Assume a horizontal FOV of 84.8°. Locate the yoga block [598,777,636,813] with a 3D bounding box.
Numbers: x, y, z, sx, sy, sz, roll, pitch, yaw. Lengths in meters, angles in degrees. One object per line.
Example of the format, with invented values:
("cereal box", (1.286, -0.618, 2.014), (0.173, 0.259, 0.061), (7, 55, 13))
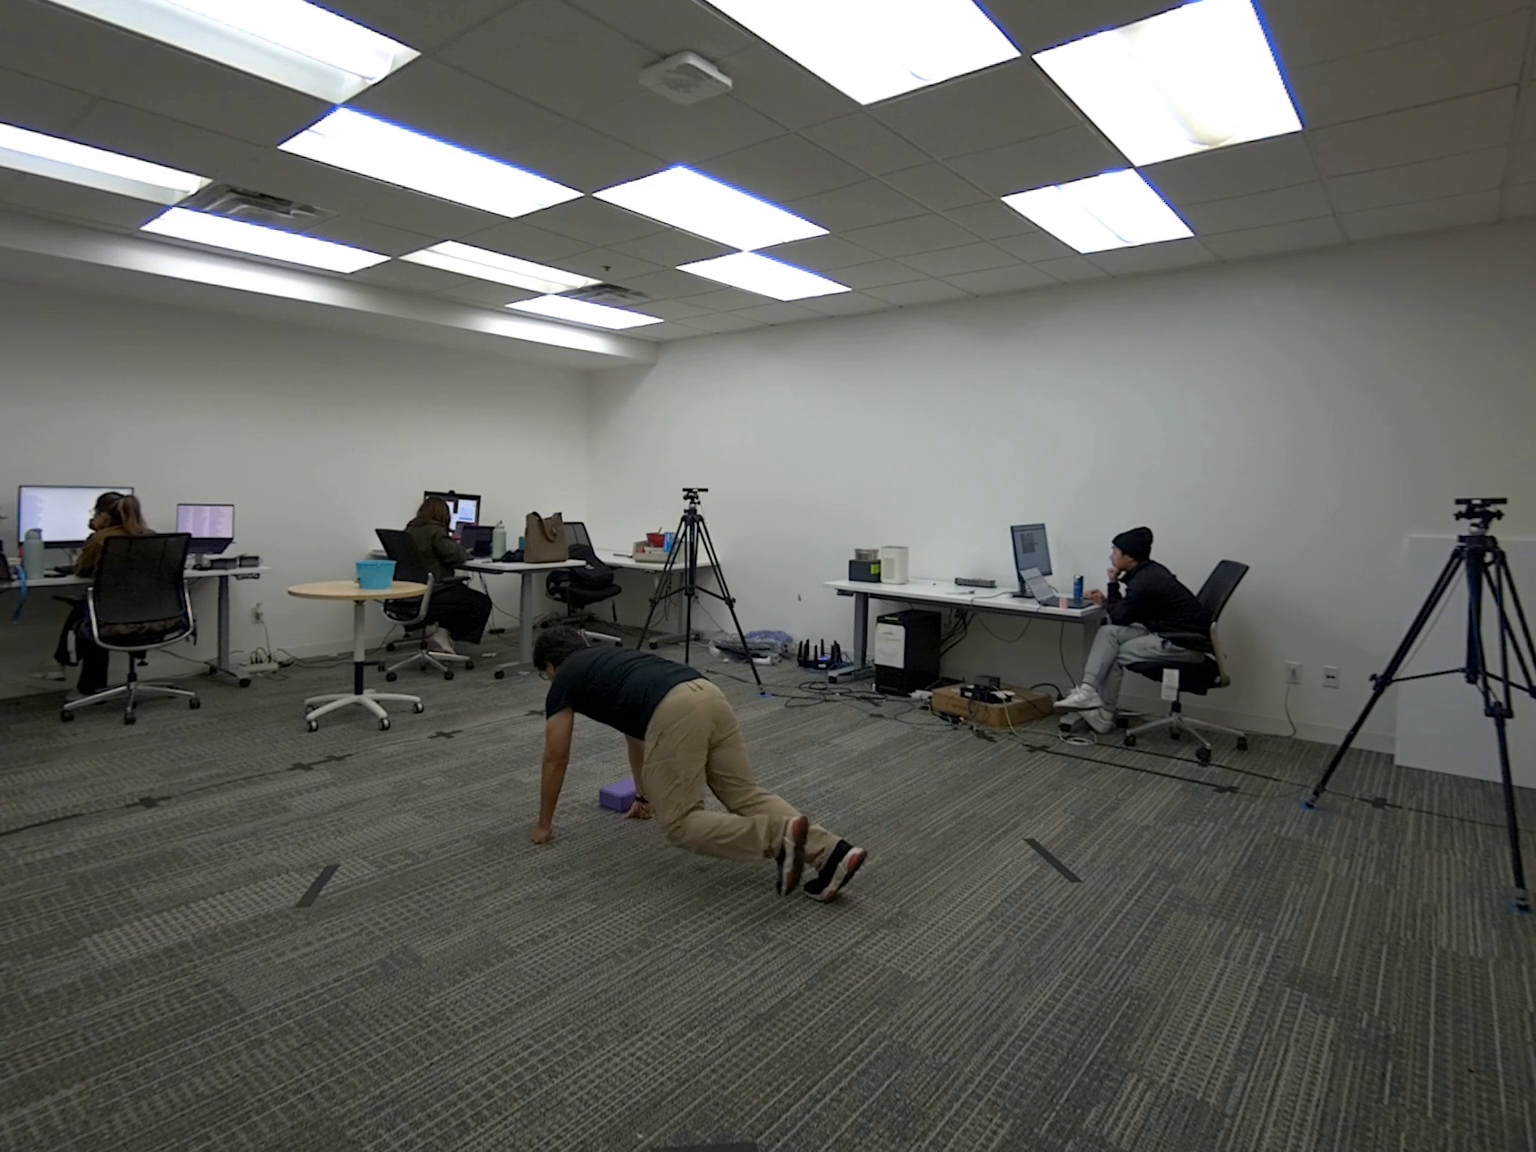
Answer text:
("yoga block", (-0.632, 0.958, 3.765), (0.154, 0.076, 0.223), (3, 5, 36))
